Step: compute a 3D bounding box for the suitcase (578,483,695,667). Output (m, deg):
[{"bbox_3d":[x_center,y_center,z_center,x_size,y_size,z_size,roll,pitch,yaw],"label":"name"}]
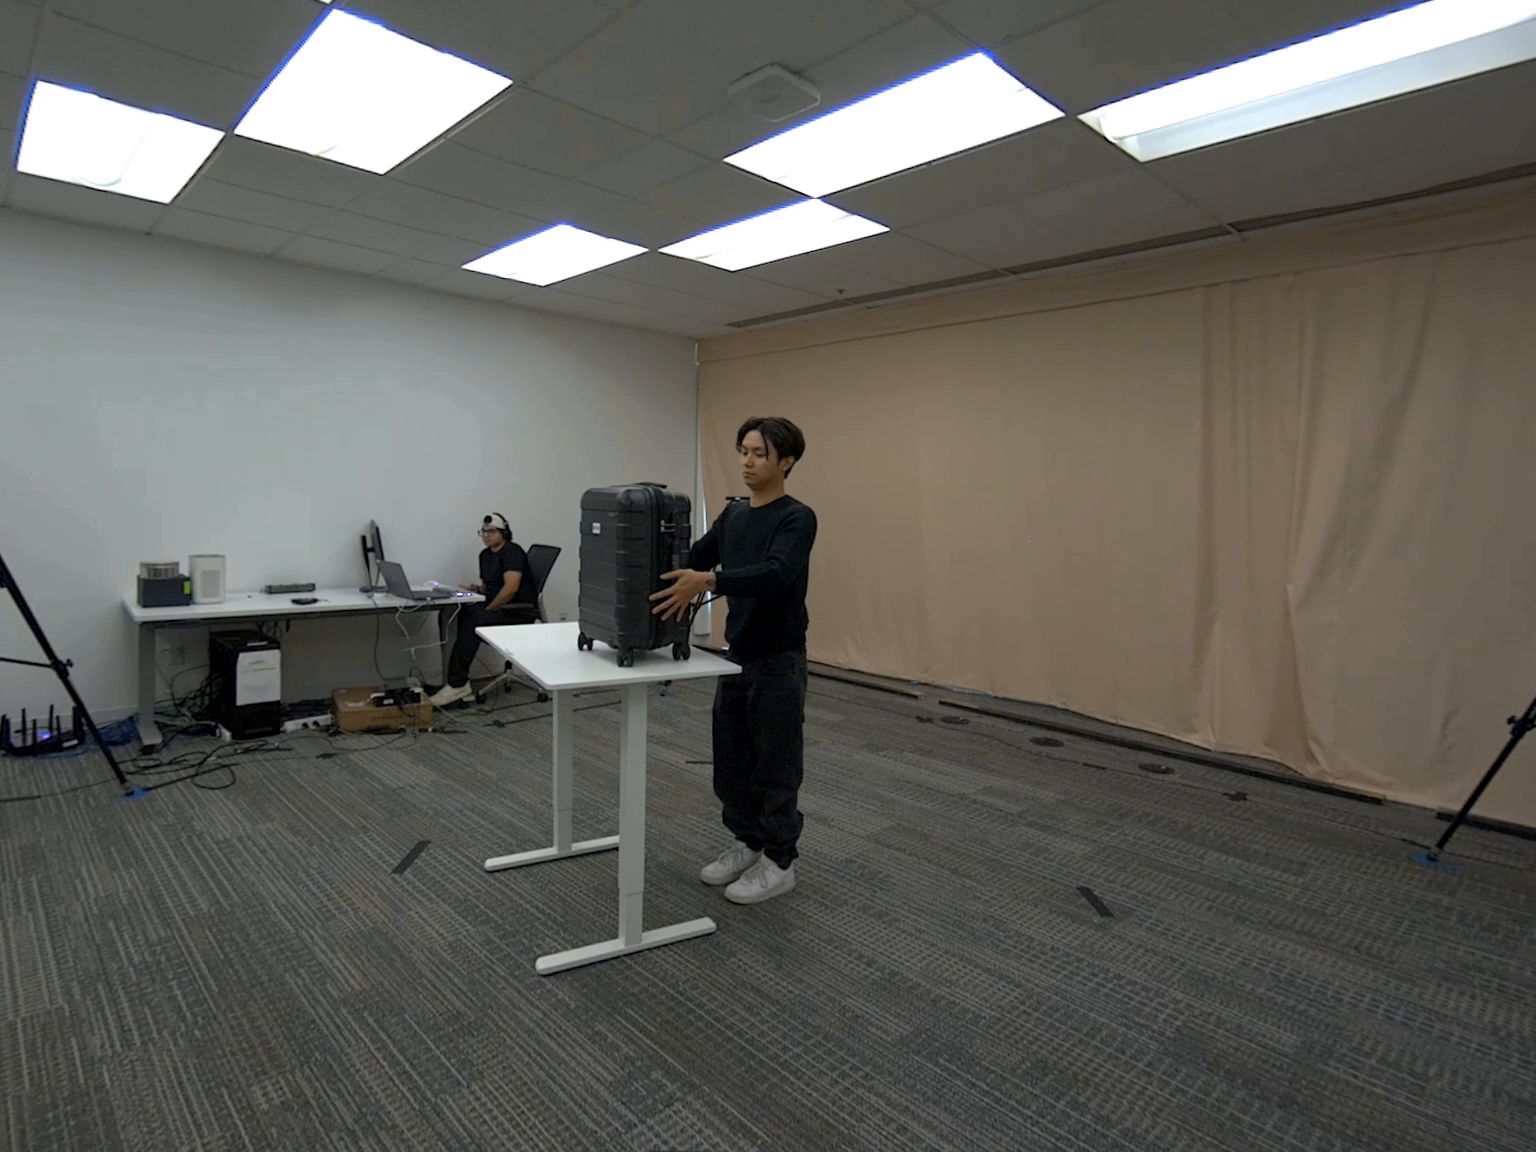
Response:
[{"bbox_3d":[-0.427,-0.018,2.673,0.243,0.547,0.385,-2,7,-35],"label":"suitcase"}]
